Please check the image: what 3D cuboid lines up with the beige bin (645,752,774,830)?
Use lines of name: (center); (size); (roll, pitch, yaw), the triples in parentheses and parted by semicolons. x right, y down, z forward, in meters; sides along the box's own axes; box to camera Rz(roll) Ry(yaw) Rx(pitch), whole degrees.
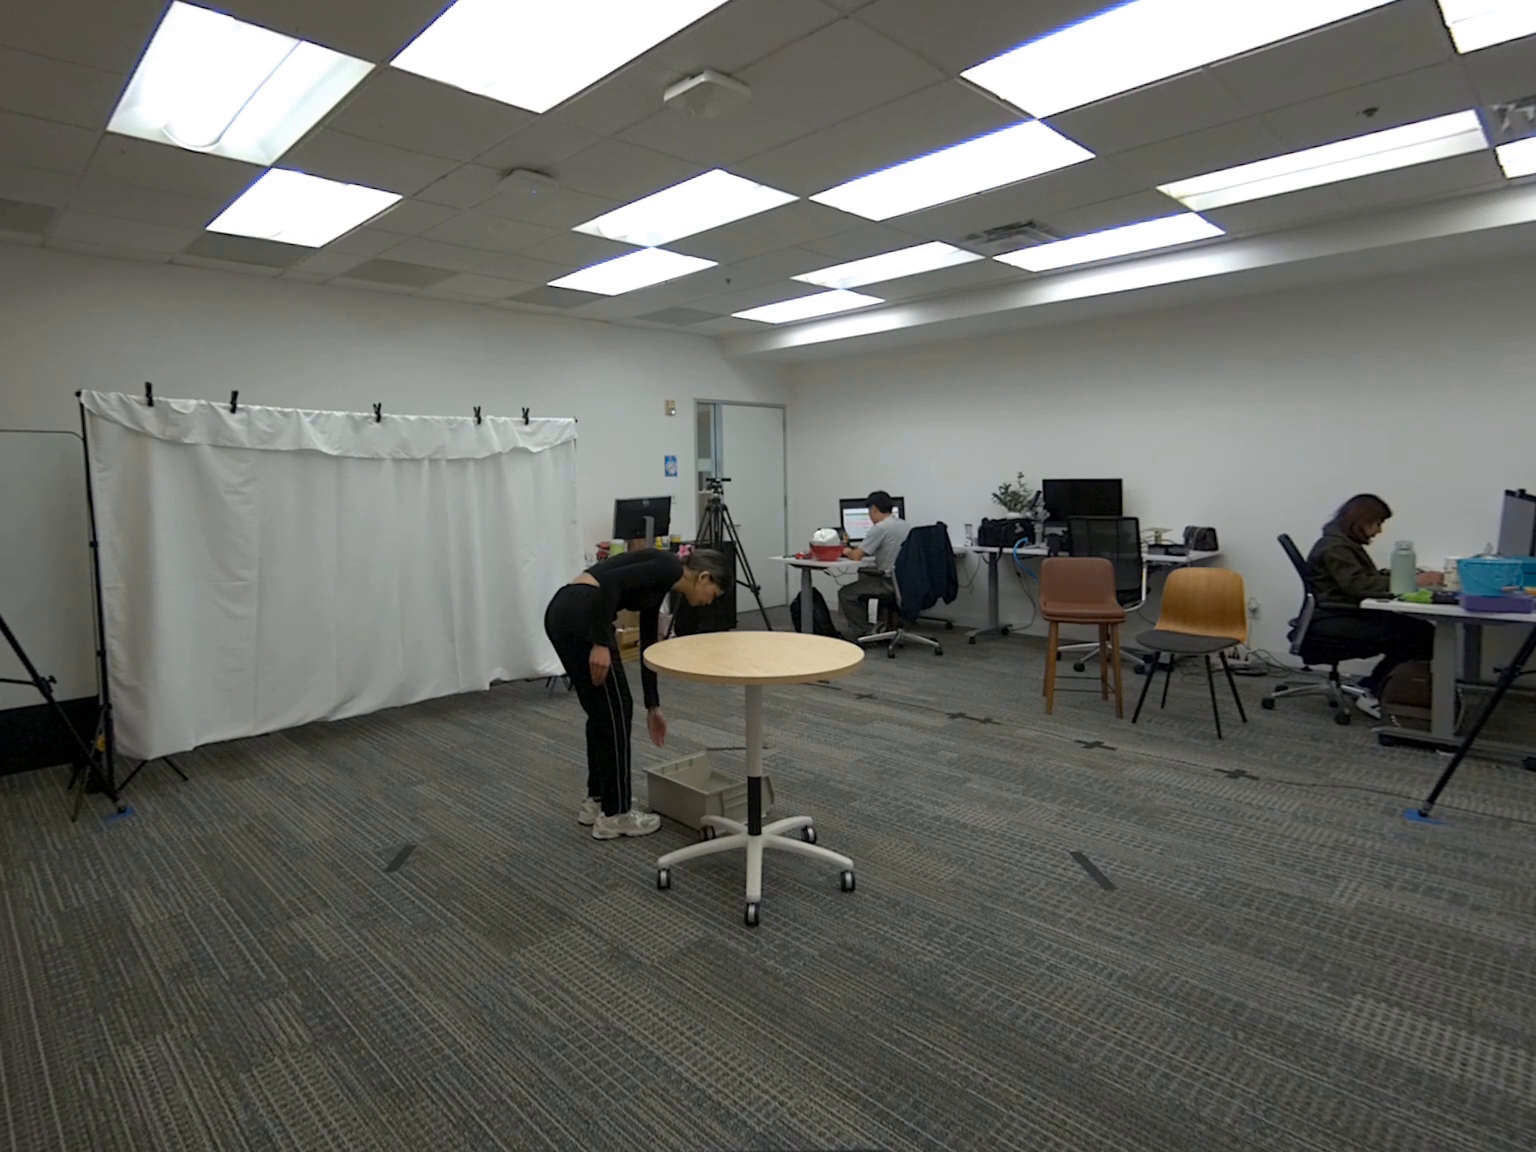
beige bin: (-0.248, 0.904, 3.591); (0.368, 0.188, 0.435); (-8, 8, -43)
